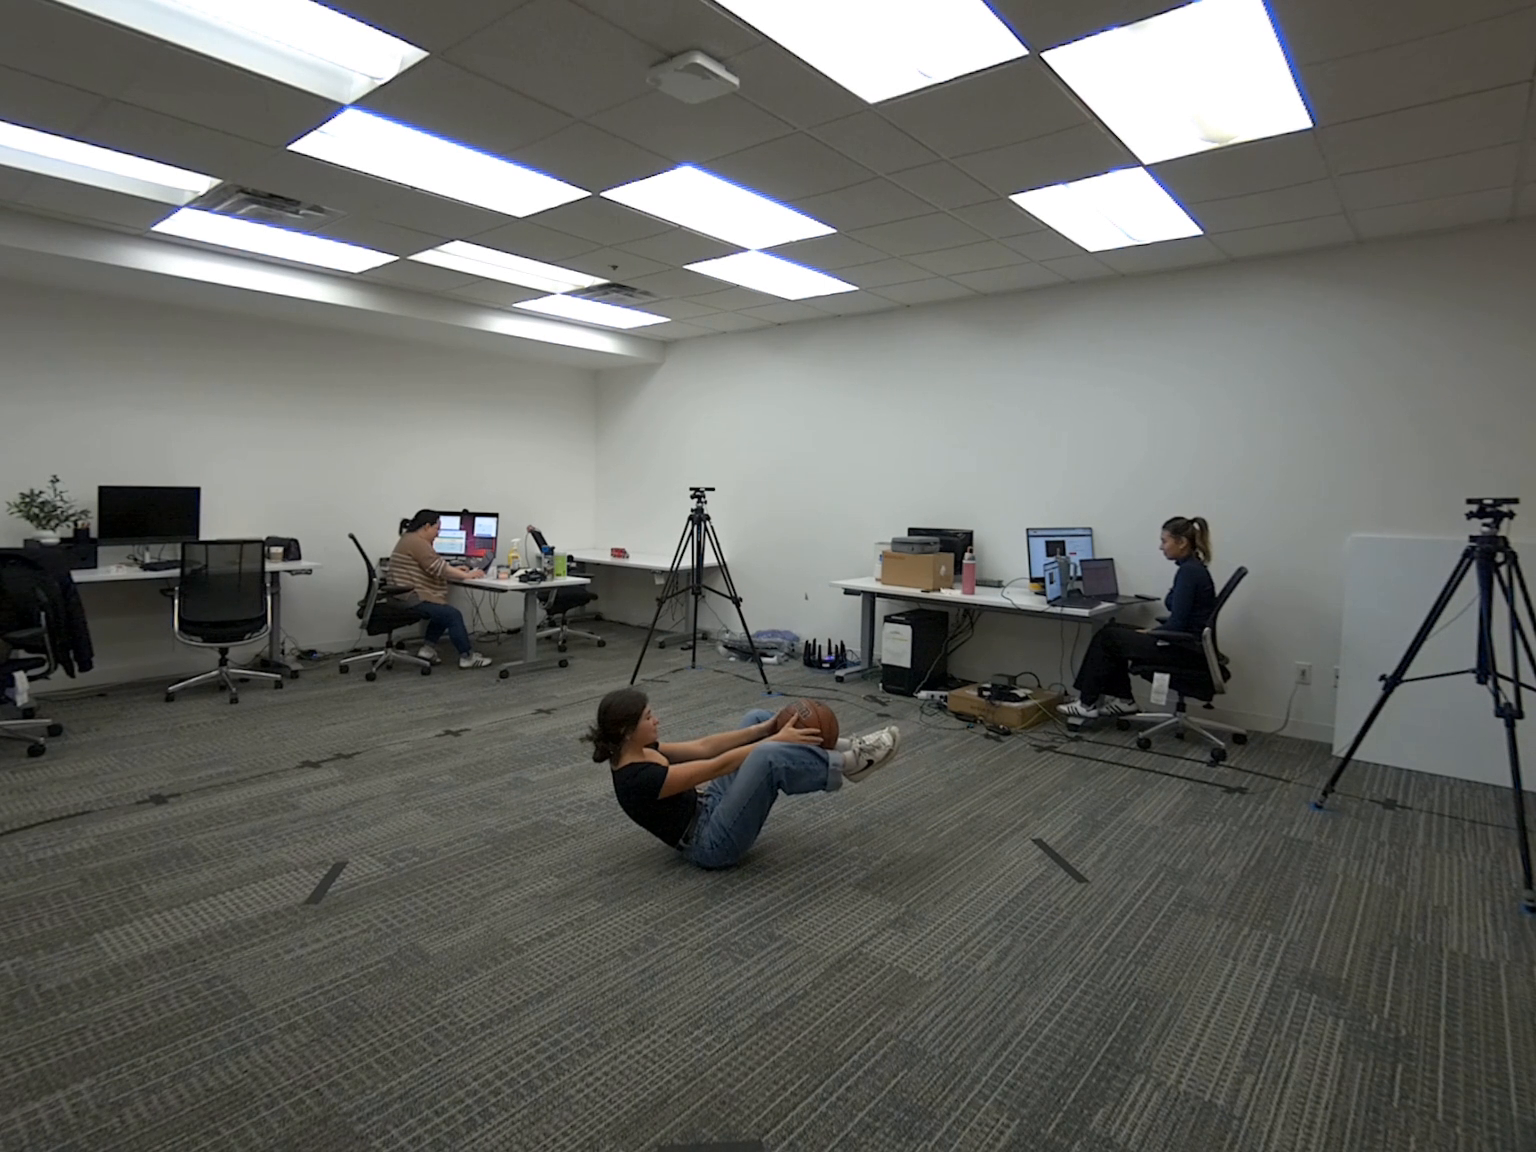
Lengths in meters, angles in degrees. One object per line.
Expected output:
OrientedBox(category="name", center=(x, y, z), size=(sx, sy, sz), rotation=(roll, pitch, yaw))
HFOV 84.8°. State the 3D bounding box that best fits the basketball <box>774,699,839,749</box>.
OrientedBox(category="basketball", center=(0.139, 0.583, 3.269), size=(0.235, 0.235, 0.237), rotation=(1, 4, -2))
